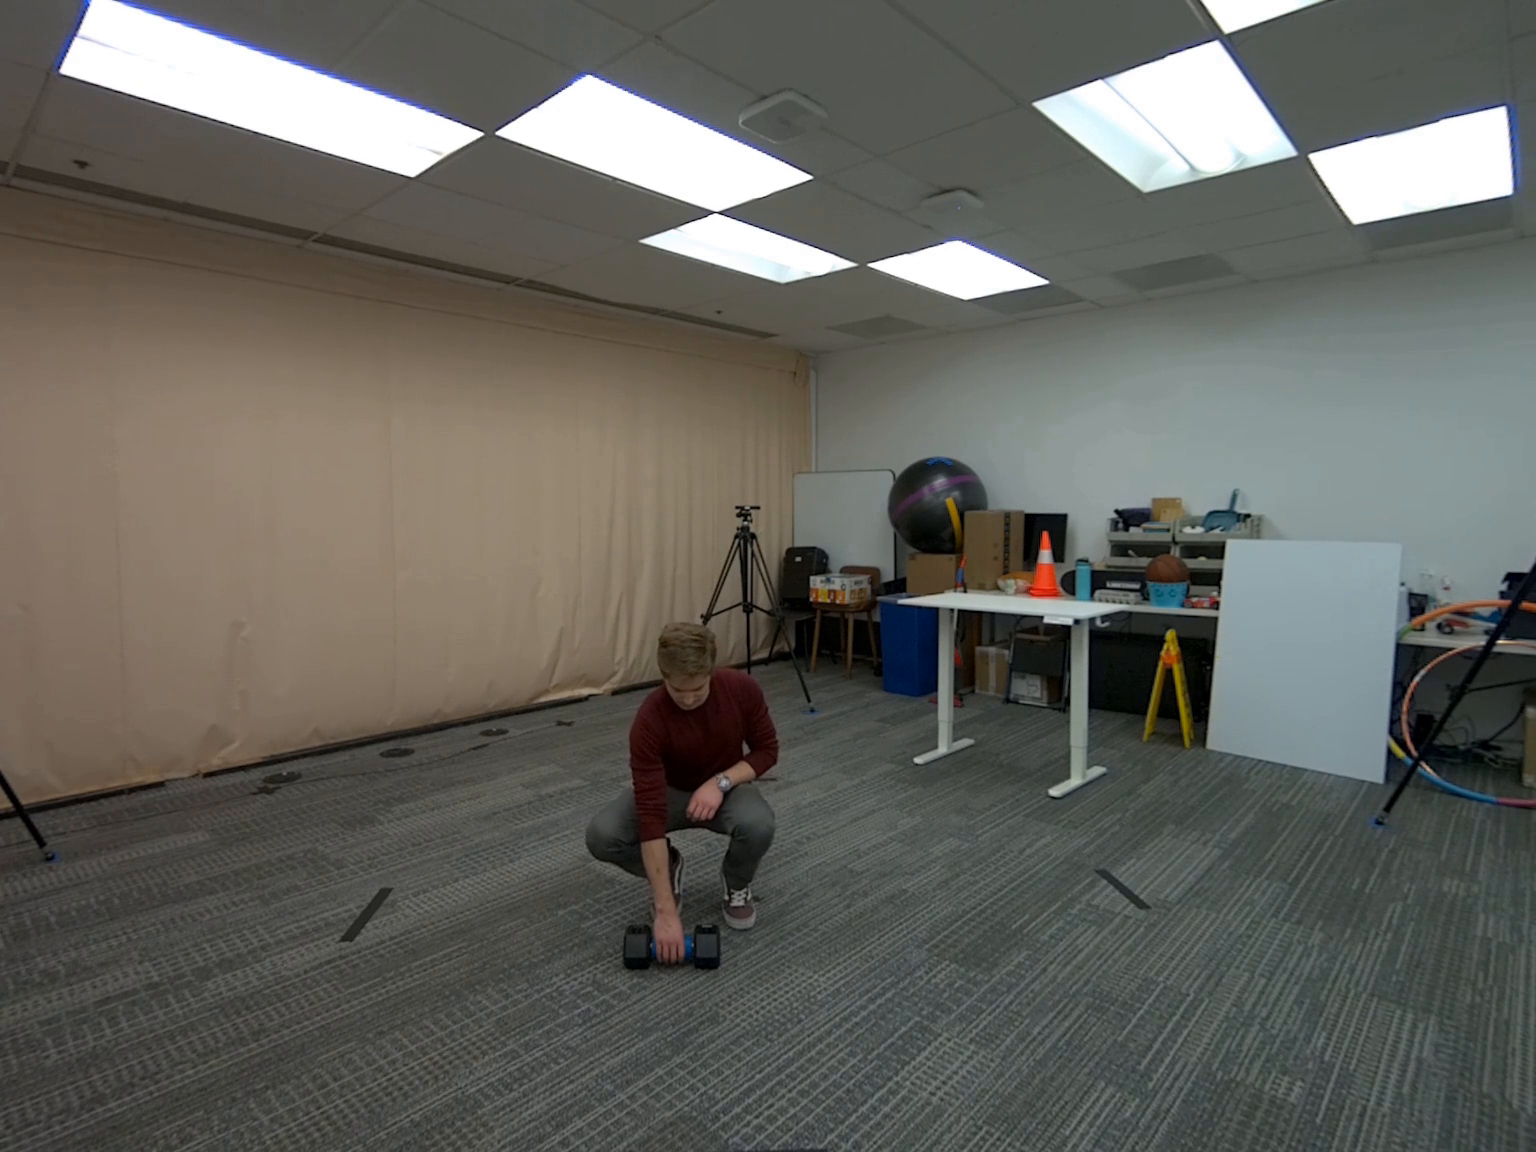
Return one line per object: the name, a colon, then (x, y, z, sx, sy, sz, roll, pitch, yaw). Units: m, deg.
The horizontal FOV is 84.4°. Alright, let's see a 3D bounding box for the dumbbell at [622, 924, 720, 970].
dumbbell: (-0.293, 1.134, 2.552, 0.293, 0.125, 0.107, -1, -23, 0)
